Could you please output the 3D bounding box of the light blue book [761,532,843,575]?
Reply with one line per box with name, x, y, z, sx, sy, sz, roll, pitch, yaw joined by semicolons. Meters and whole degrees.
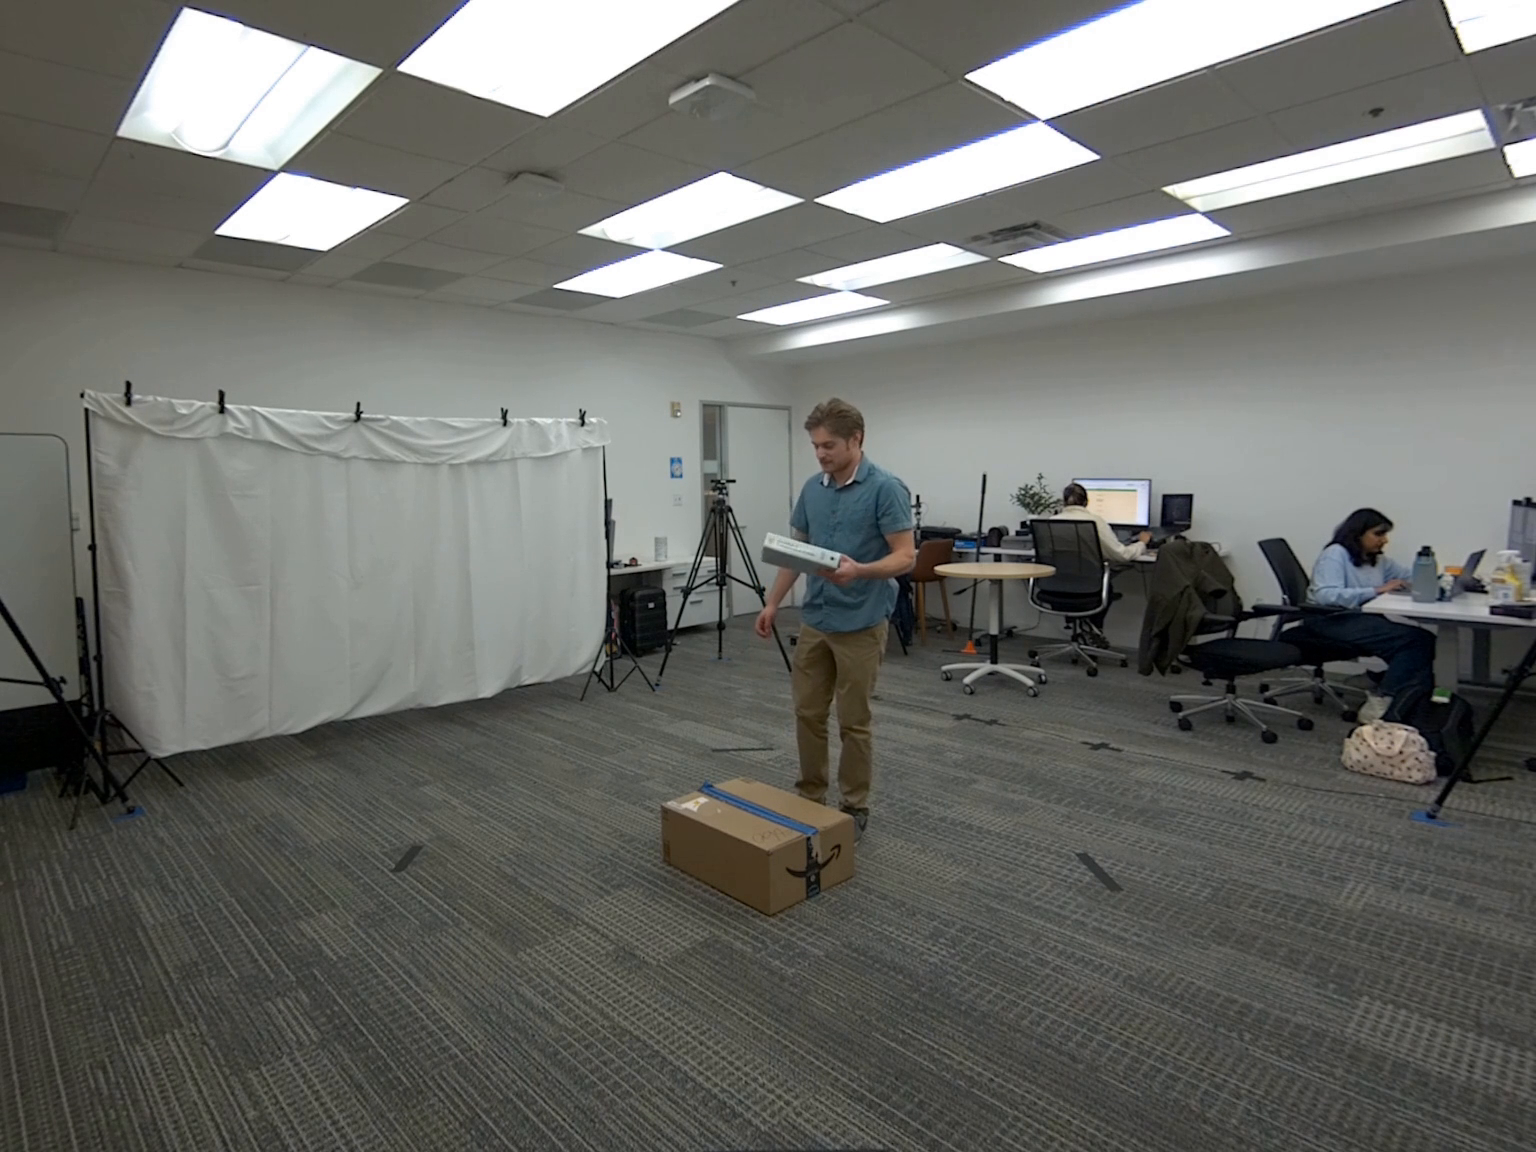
light blue book;0.118;-0.067;3.007;0.263;0.059;0.188;16;-13;7
